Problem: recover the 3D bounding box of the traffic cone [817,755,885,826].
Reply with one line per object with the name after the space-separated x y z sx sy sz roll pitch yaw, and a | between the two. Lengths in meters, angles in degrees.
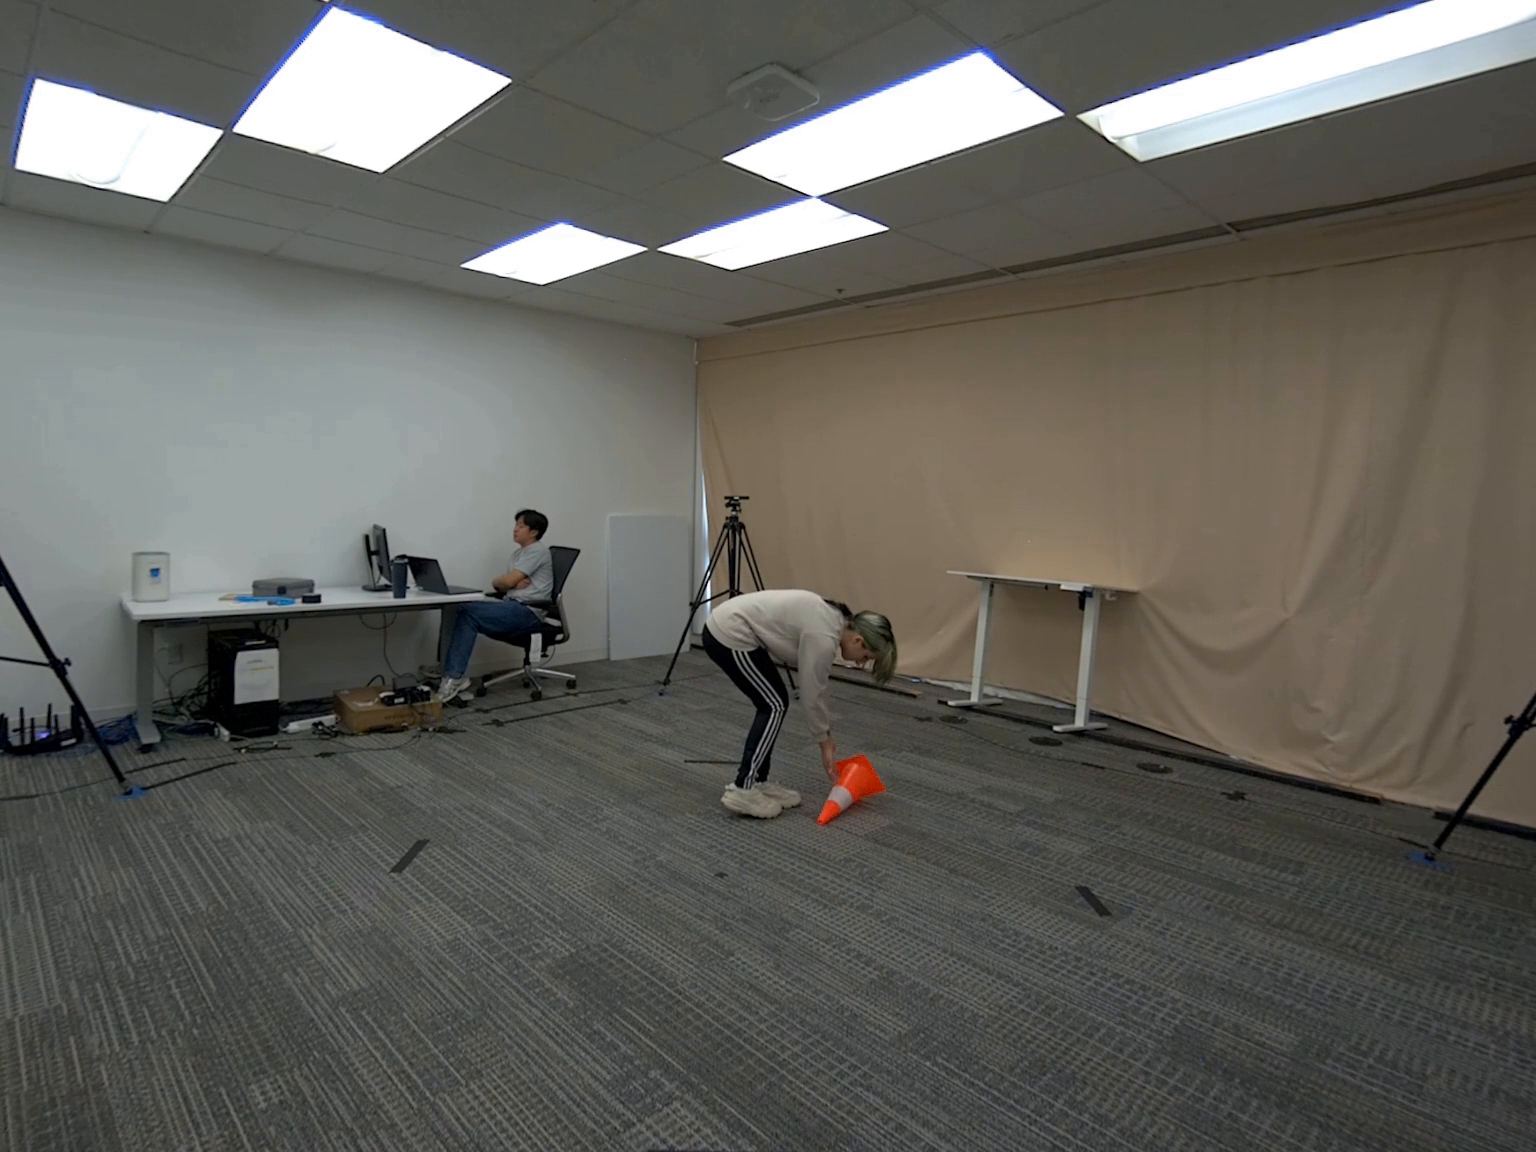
0.308 0.995 3.759 0.206 0.204 0.380 -33 -2 39 | traffic cone
